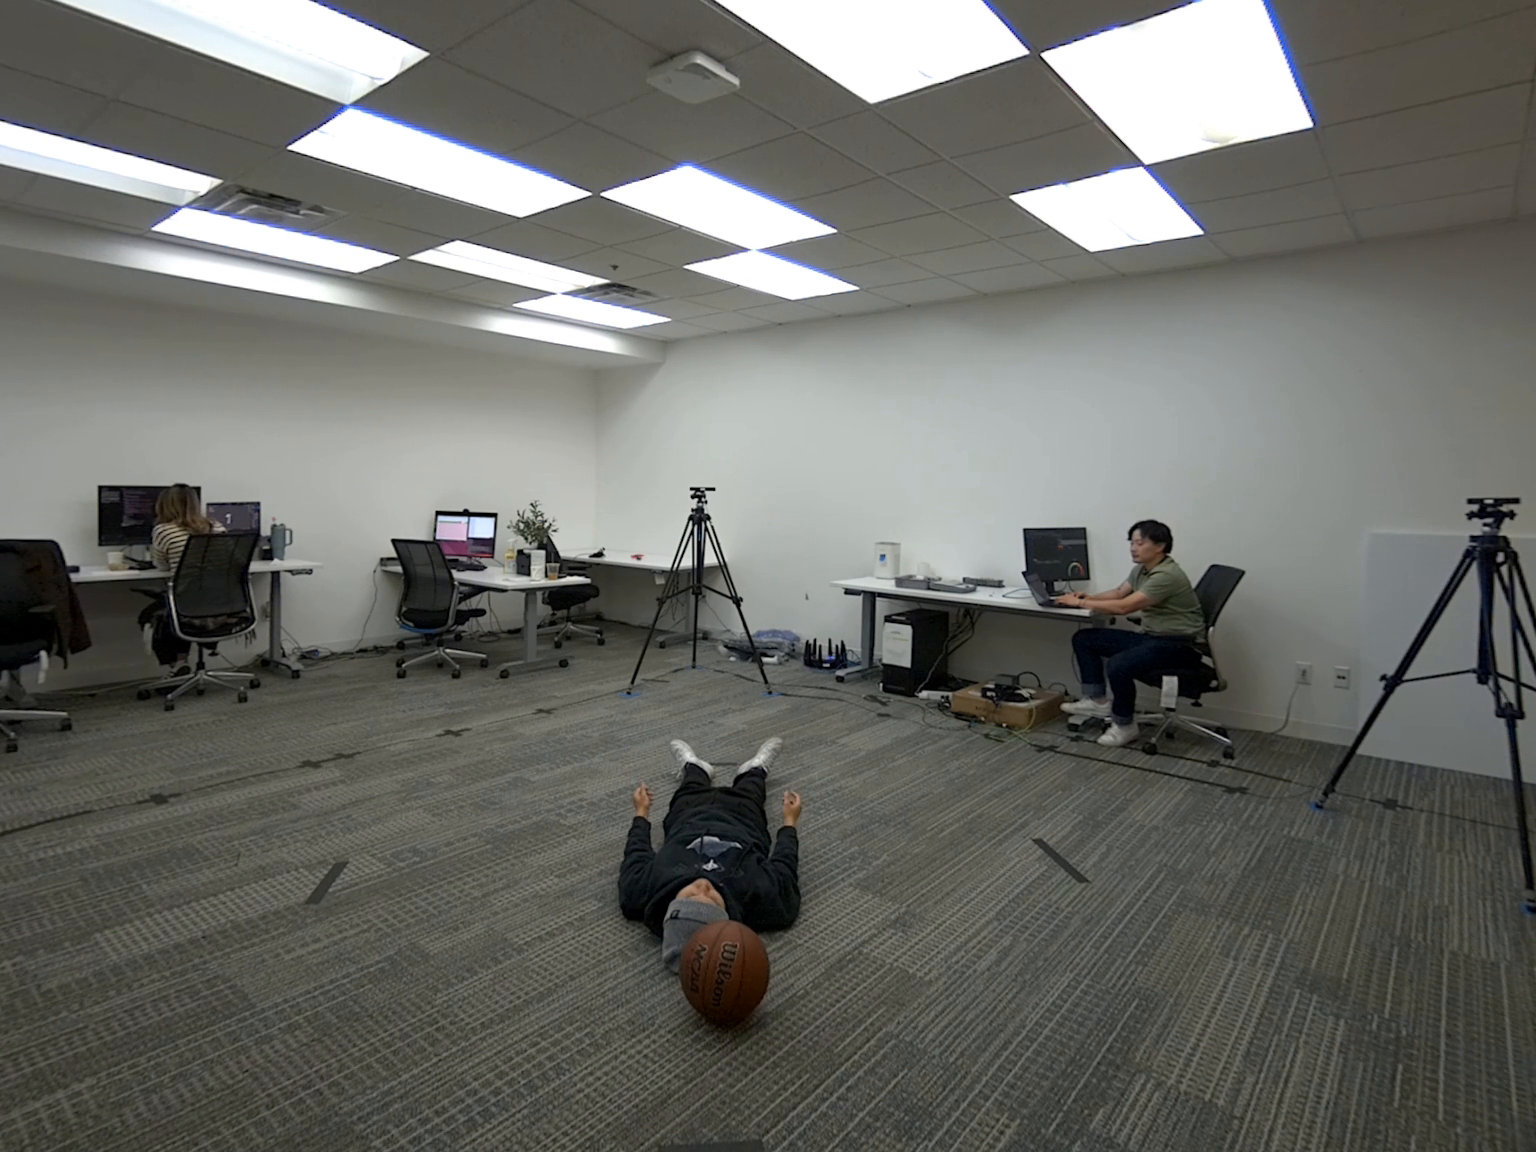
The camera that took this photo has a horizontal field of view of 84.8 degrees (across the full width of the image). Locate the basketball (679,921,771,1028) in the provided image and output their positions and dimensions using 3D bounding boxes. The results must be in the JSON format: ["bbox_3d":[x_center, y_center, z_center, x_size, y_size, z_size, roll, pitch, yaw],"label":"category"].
[{"bbox_3d":[-0.120,1.030,2.254,0.235,0.235,0.237,1,4,-2],"label":"basketball"}]
